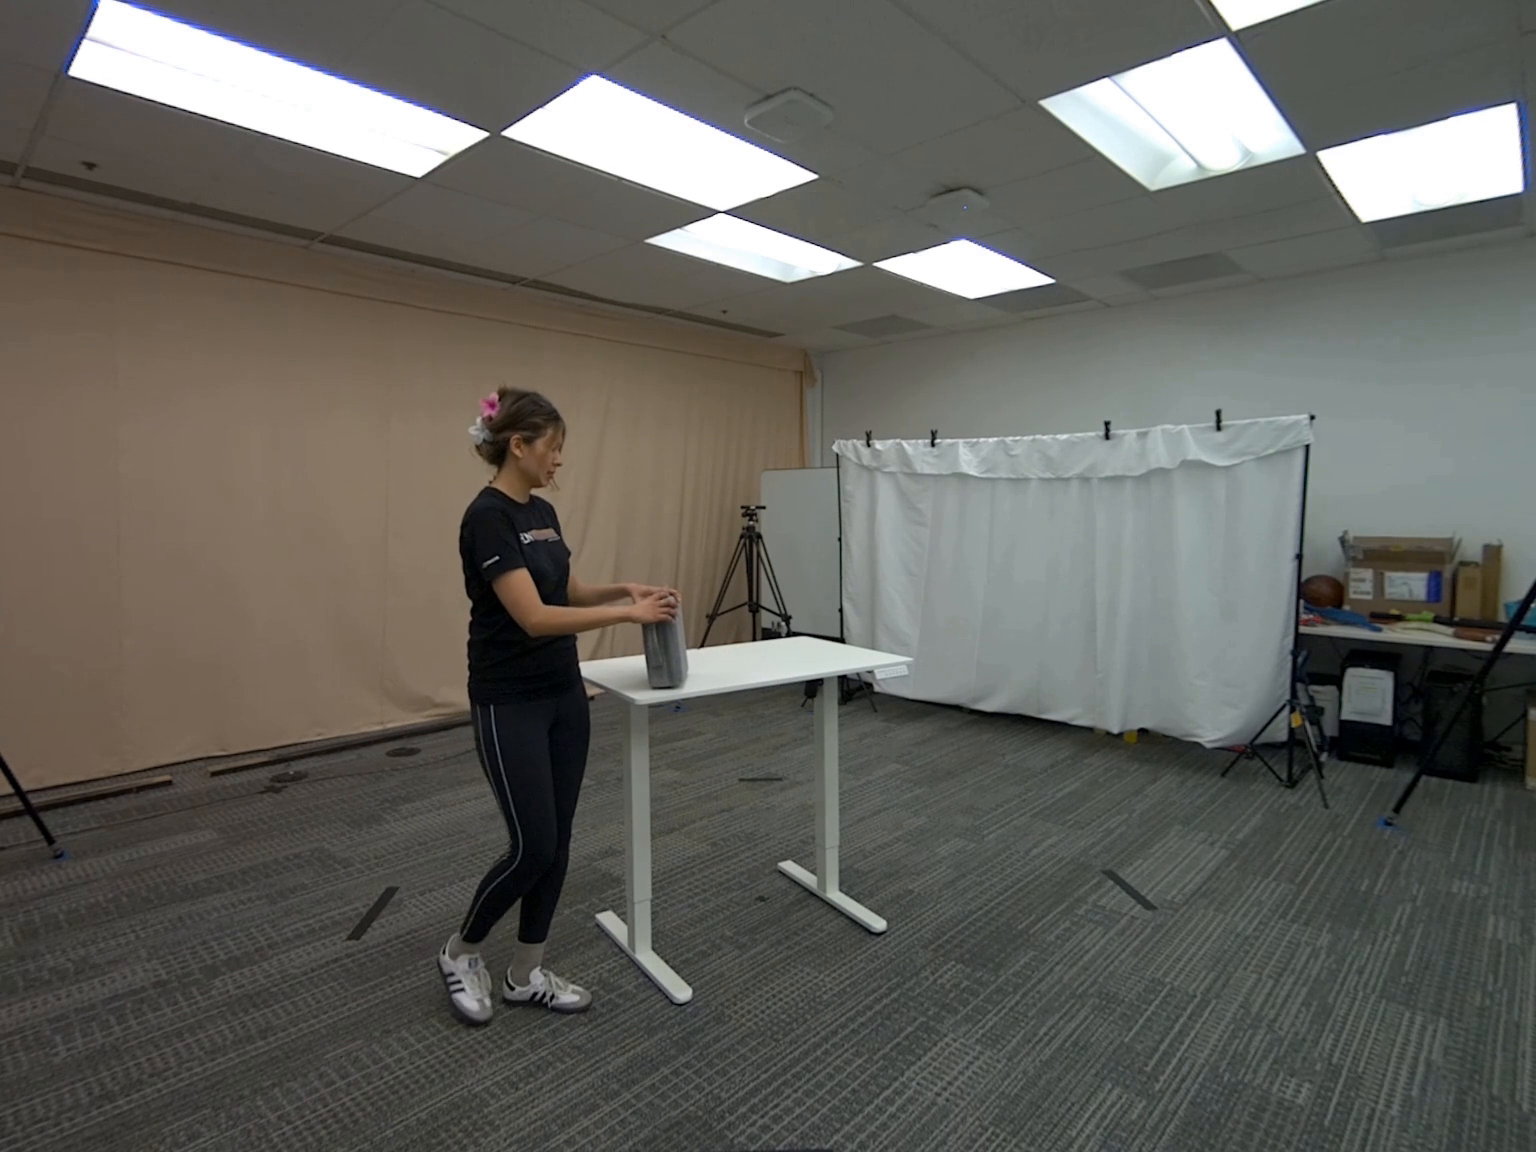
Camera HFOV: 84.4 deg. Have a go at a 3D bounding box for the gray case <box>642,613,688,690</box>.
[{"bbox_3d":[-0.297,0.188,2.440,0.104,0.256,0.261,-4,4,-2],"label":"gray case"}]
